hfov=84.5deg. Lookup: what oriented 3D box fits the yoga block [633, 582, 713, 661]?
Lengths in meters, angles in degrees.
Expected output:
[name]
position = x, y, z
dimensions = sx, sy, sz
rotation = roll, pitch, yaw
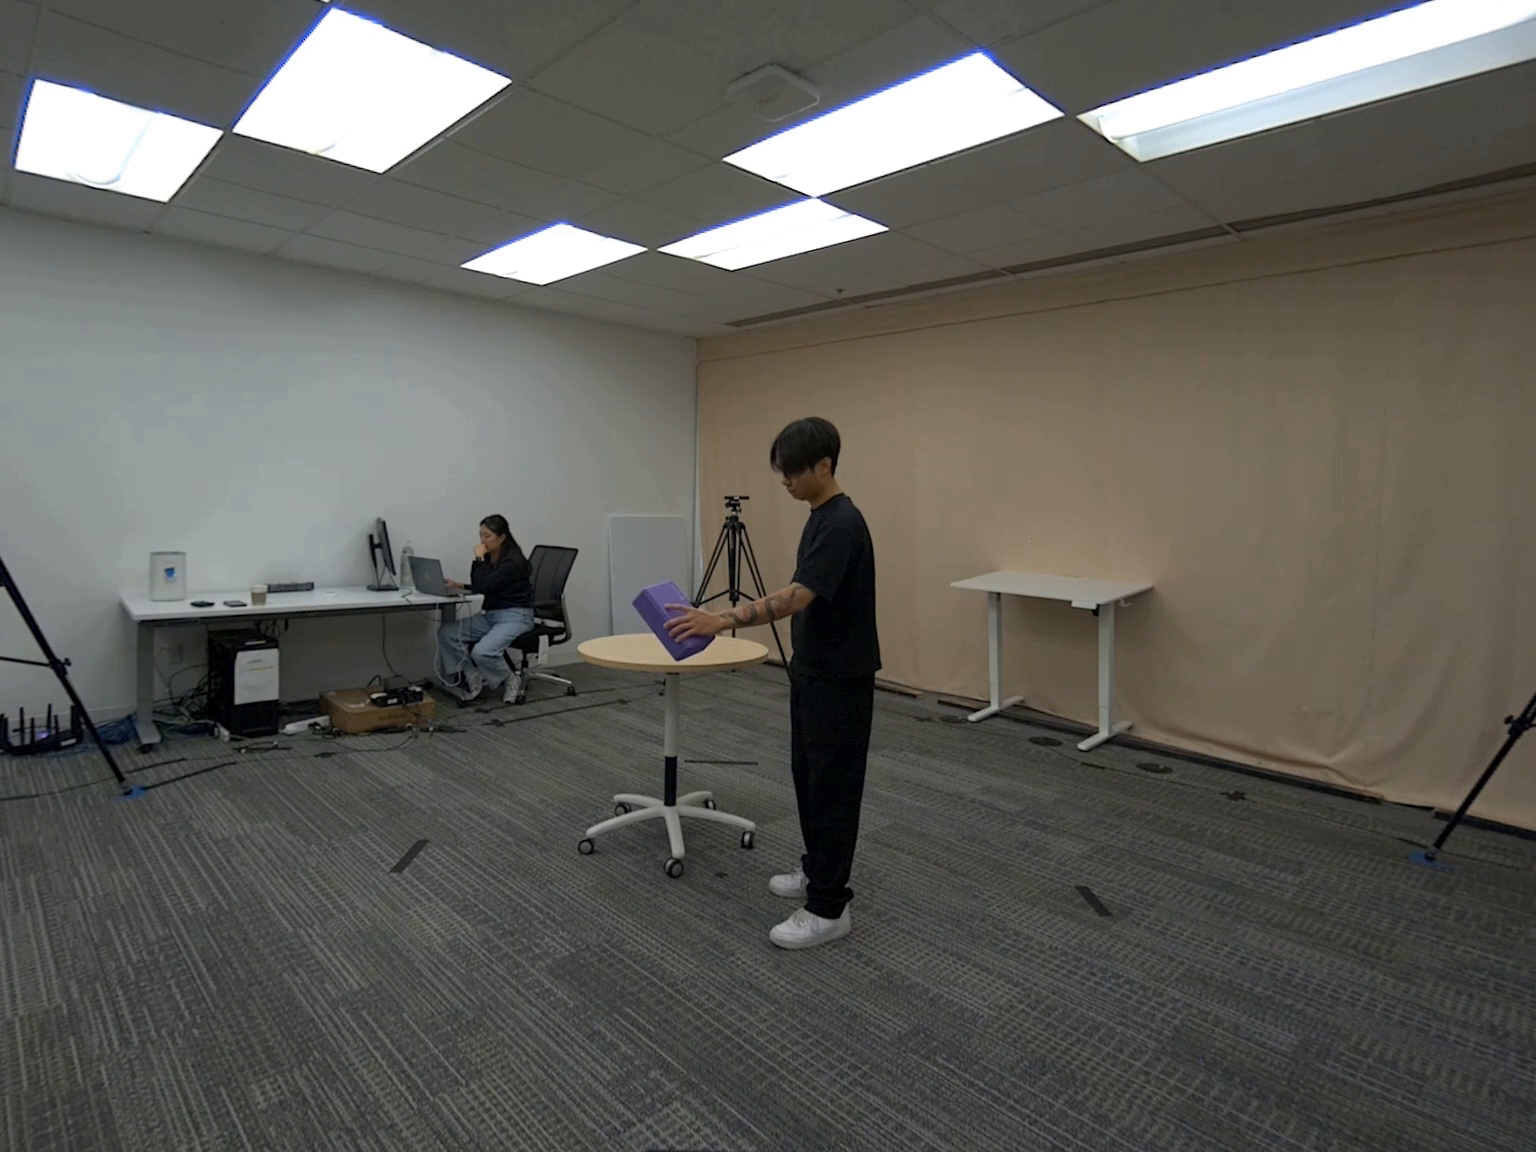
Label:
[yoga block]
position = -0.283, 0.130, 2.494
dimensions = 0.076, 0.233, 0.146
rotation = -48, -17, 28
